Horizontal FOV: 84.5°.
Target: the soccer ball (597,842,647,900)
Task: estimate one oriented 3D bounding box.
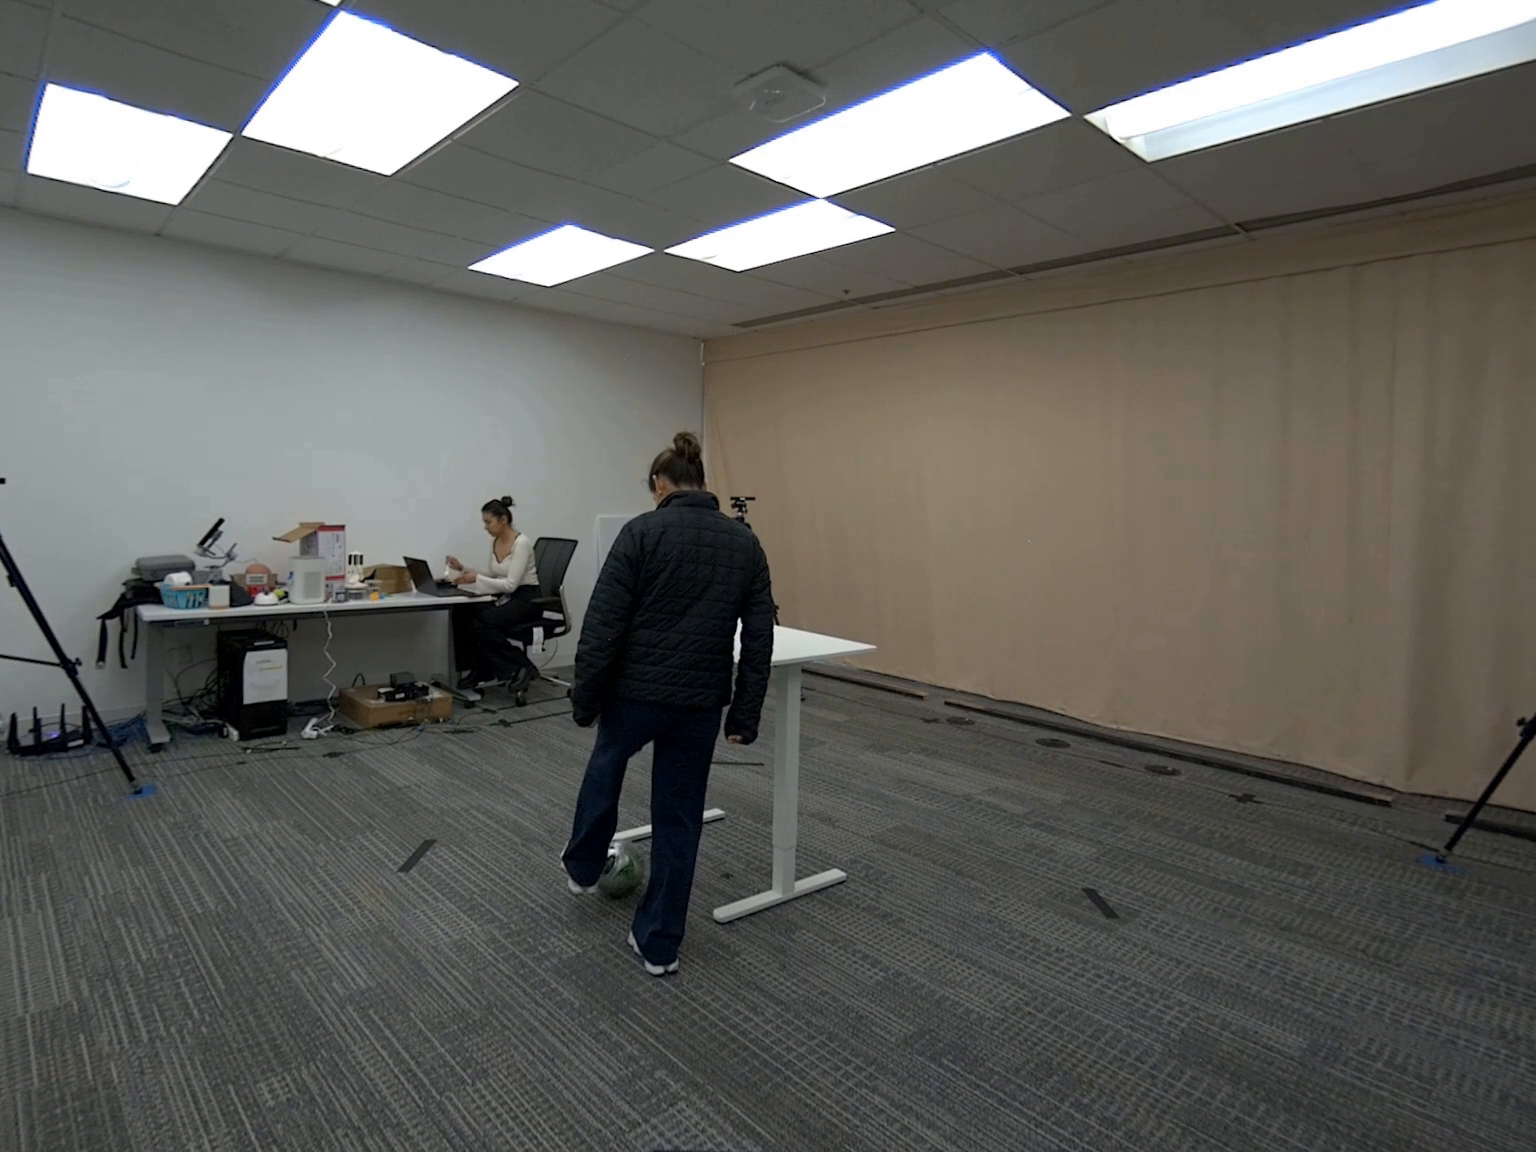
[{"bbox_3d":[-0.539,1.018,2.940,0.187,0.187,0.188,1,4,-1],"label":"soccer ball"}]
